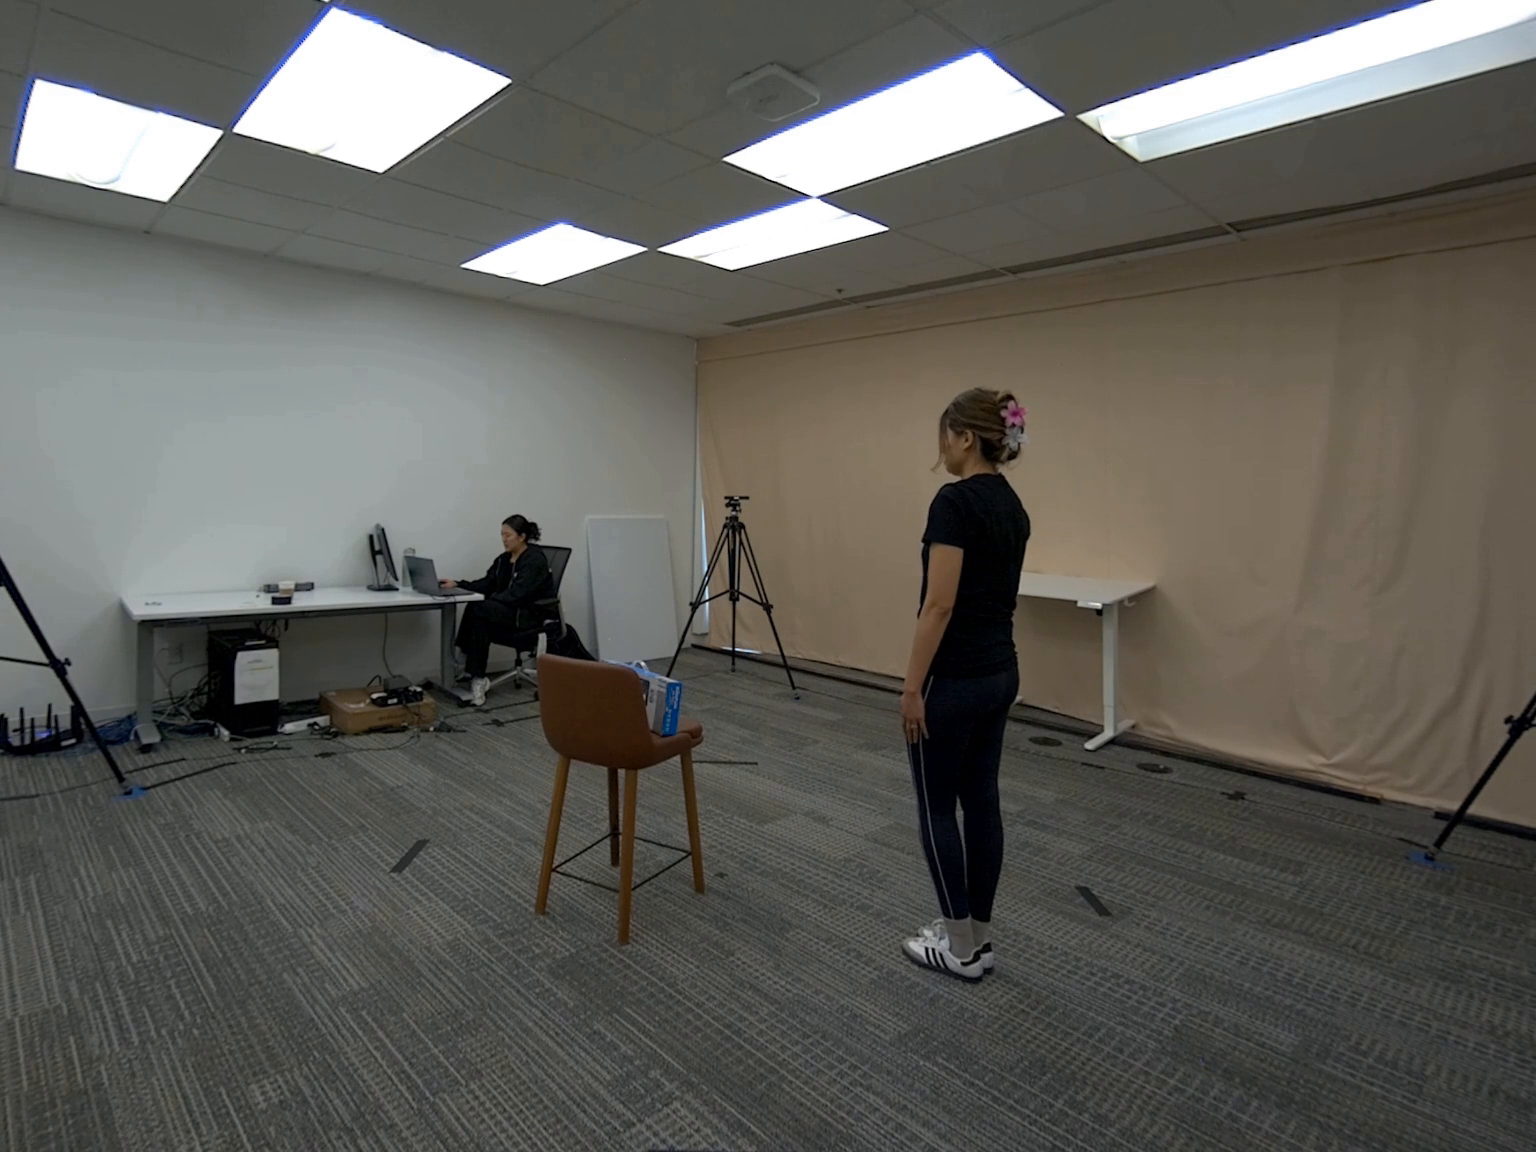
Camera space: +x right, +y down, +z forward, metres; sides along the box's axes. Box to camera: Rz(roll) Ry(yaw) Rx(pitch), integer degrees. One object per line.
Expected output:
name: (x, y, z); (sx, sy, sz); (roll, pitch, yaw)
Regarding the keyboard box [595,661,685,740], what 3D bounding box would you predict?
keyboard box: (-0.449, 0.416, 2.904); (0.057, 0.176, 0.448); (7, 0, -40)
